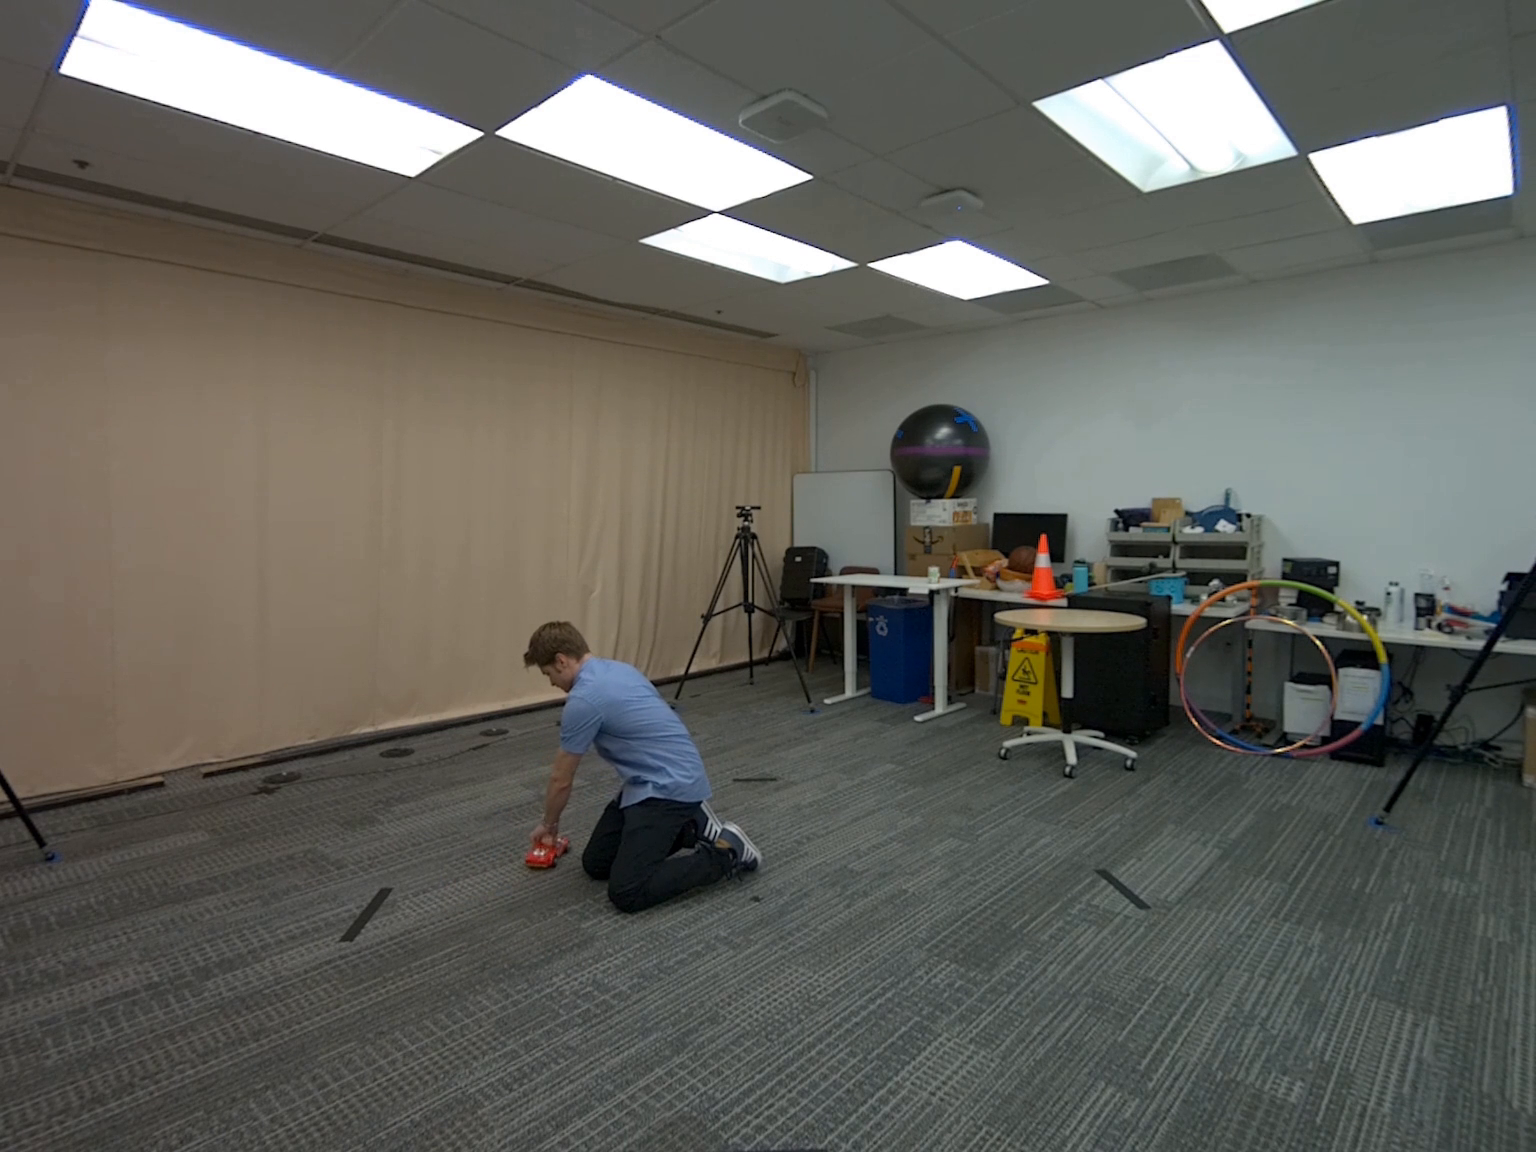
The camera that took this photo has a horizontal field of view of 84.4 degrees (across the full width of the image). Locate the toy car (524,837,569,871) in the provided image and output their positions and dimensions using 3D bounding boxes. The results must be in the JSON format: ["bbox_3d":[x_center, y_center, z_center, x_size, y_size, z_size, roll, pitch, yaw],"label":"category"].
[{"bbox_3d":[-0.882,1.099,3.321,0.132,0.083,0.250,0,-6,10],"label":"toy car"}]
